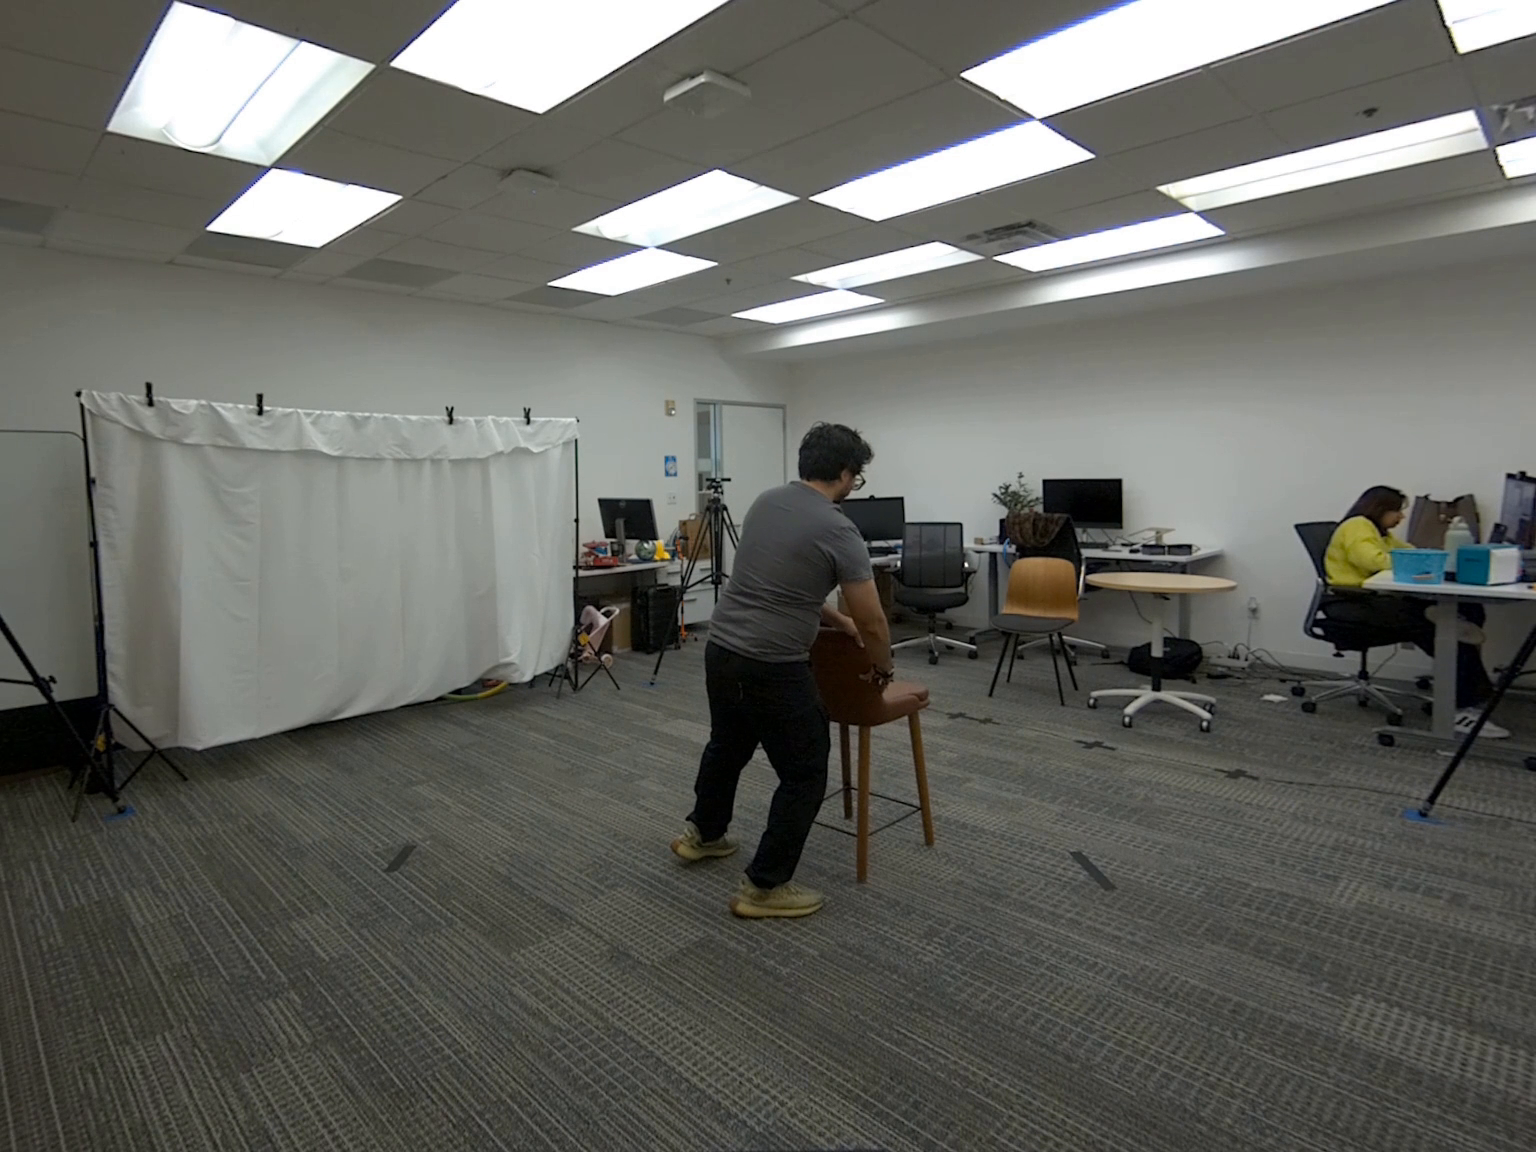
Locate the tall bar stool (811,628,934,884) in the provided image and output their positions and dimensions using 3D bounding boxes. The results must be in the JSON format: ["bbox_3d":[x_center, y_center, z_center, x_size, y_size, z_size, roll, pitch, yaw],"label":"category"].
[{"bbox_3d":[0.315,0.587,3.184,0.470,0.885,0.456,2,7,44],"label":"tall bar stool"}]
